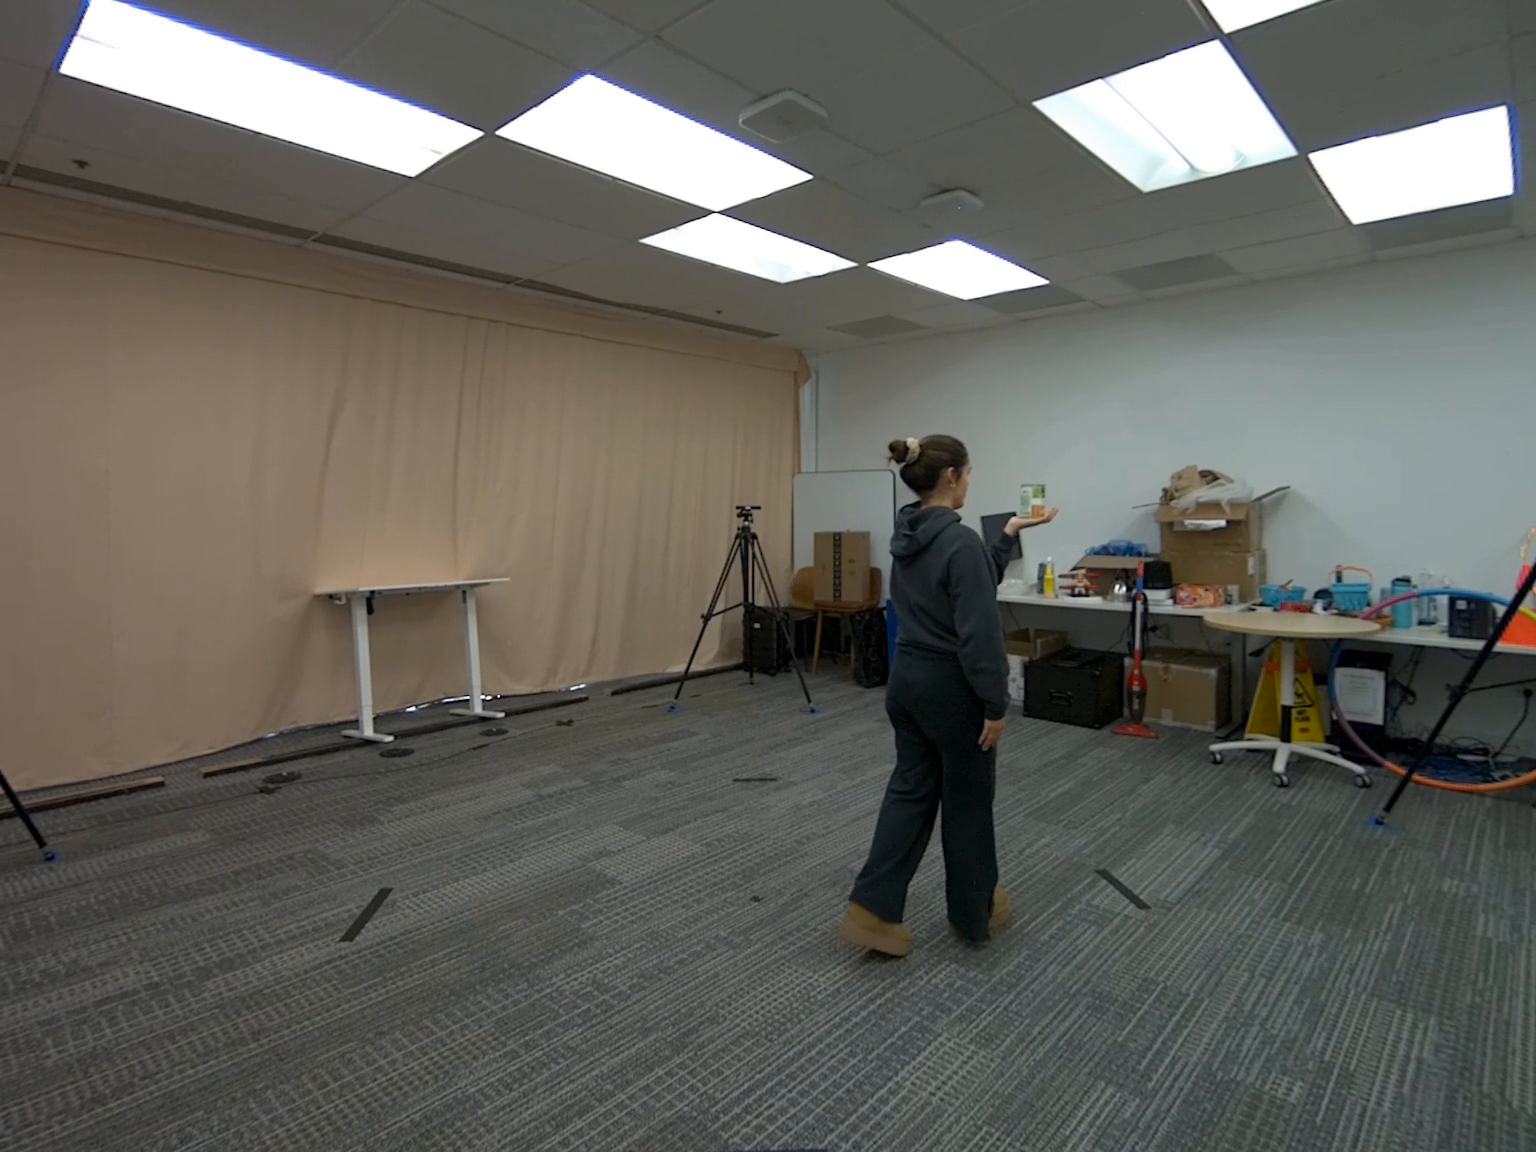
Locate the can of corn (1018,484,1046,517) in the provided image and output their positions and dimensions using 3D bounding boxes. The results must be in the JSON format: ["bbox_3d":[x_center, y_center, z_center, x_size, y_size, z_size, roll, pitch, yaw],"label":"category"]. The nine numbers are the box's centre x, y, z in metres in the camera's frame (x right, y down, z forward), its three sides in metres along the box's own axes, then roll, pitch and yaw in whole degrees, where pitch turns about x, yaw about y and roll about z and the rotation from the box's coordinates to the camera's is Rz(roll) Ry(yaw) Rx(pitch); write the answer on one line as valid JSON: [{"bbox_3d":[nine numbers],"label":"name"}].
[{"bbox_3d":[0.866,-0.243,2.750,0.074,0.111,0.074,0,1,-2],"label":"can of corn"}]
